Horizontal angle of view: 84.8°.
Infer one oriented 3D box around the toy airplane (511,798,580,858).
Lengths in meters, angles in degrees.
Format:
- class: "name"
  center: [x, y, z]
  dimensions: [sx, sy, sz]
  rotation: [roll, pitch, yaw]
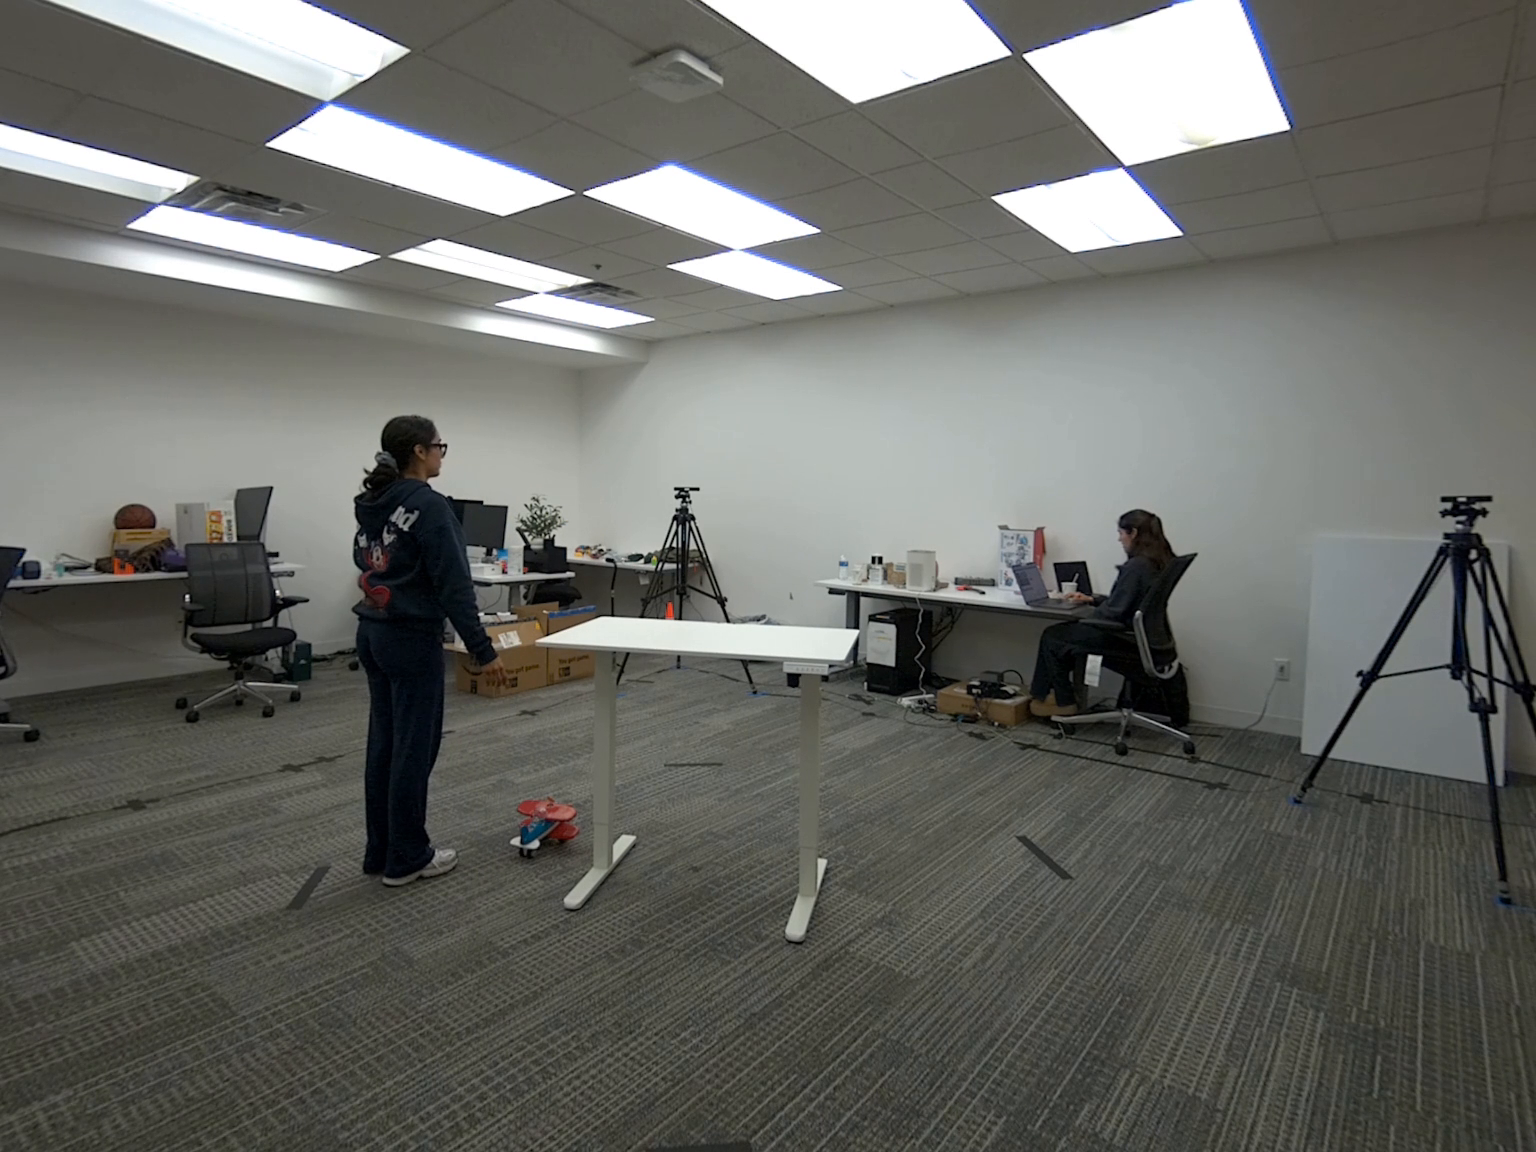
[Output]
- class: "toy airplane"
  center: [-0.852, 0.973, 3.257]
  dimensions: [0.250, 0.156, 0.261]
  rotation: [0, 4, -6]
